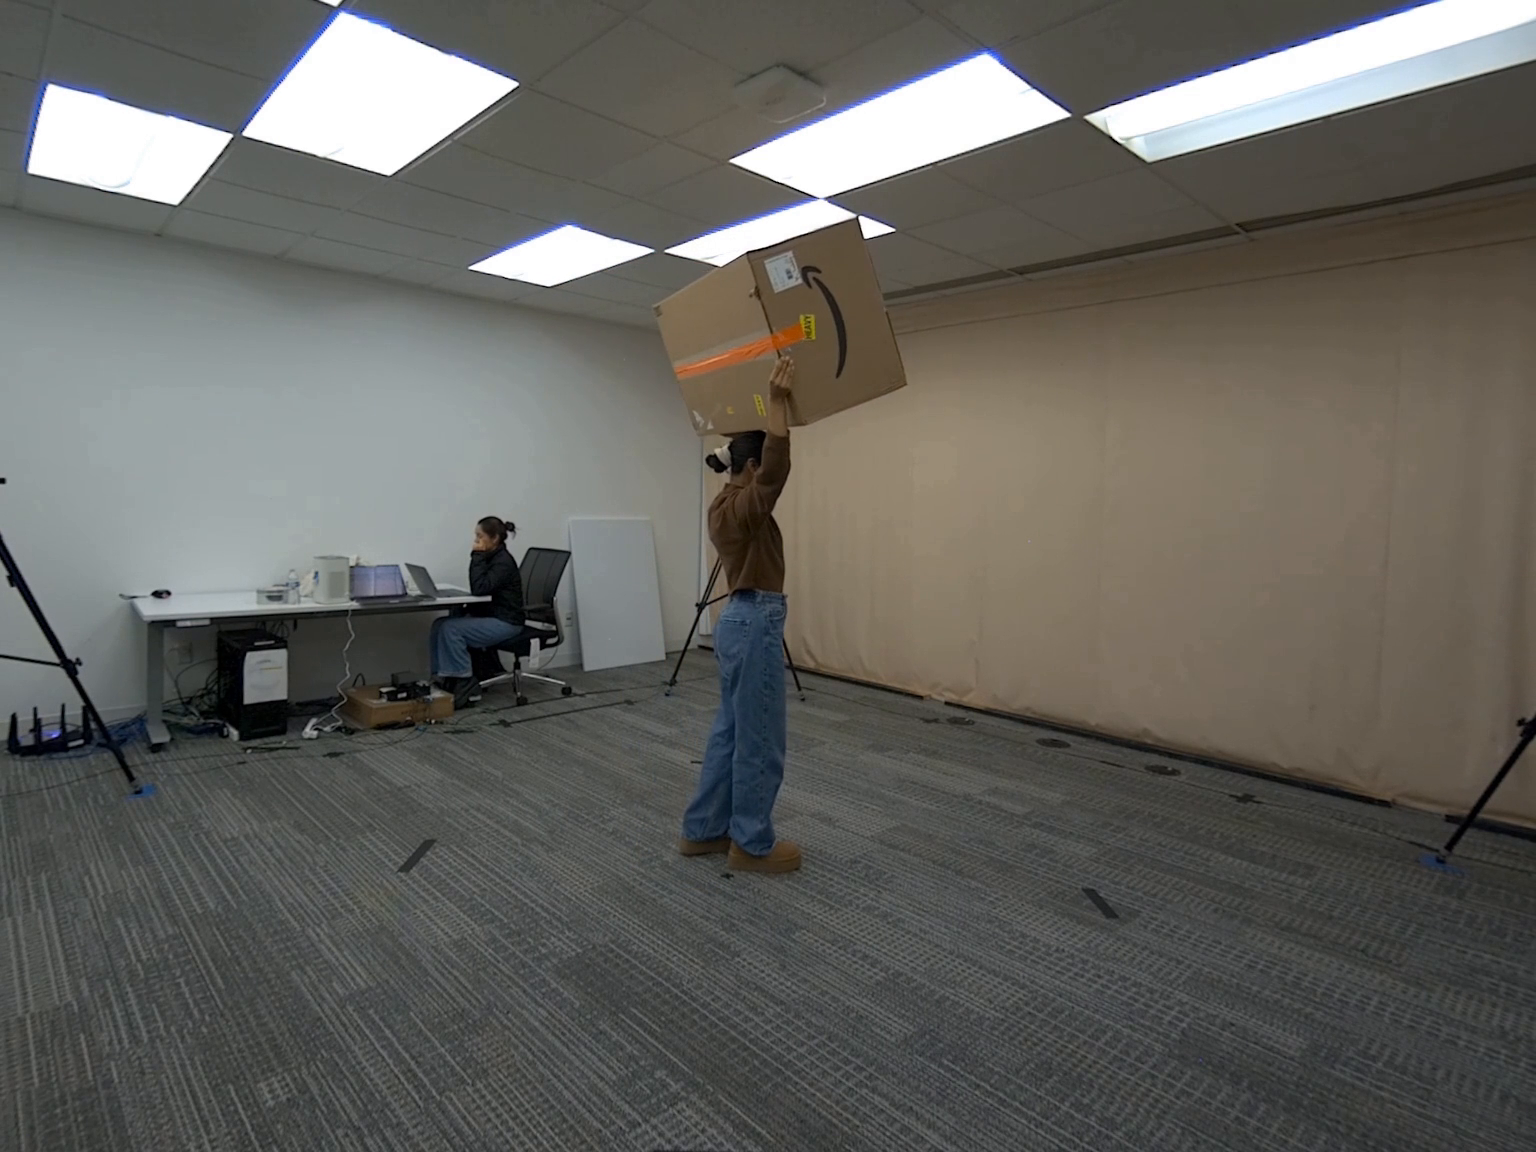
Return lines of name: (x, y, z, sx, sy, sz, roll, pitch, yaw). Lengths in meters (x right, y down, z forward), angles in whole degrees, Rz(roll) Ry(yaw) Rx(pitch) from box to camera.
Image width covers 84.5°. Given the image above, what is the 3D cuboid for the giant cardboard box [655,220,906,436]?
giant cardboard box: (-0.014, -0.885, 3.188, 0.423, 0.570, 1.047, -25, 16, -19)
